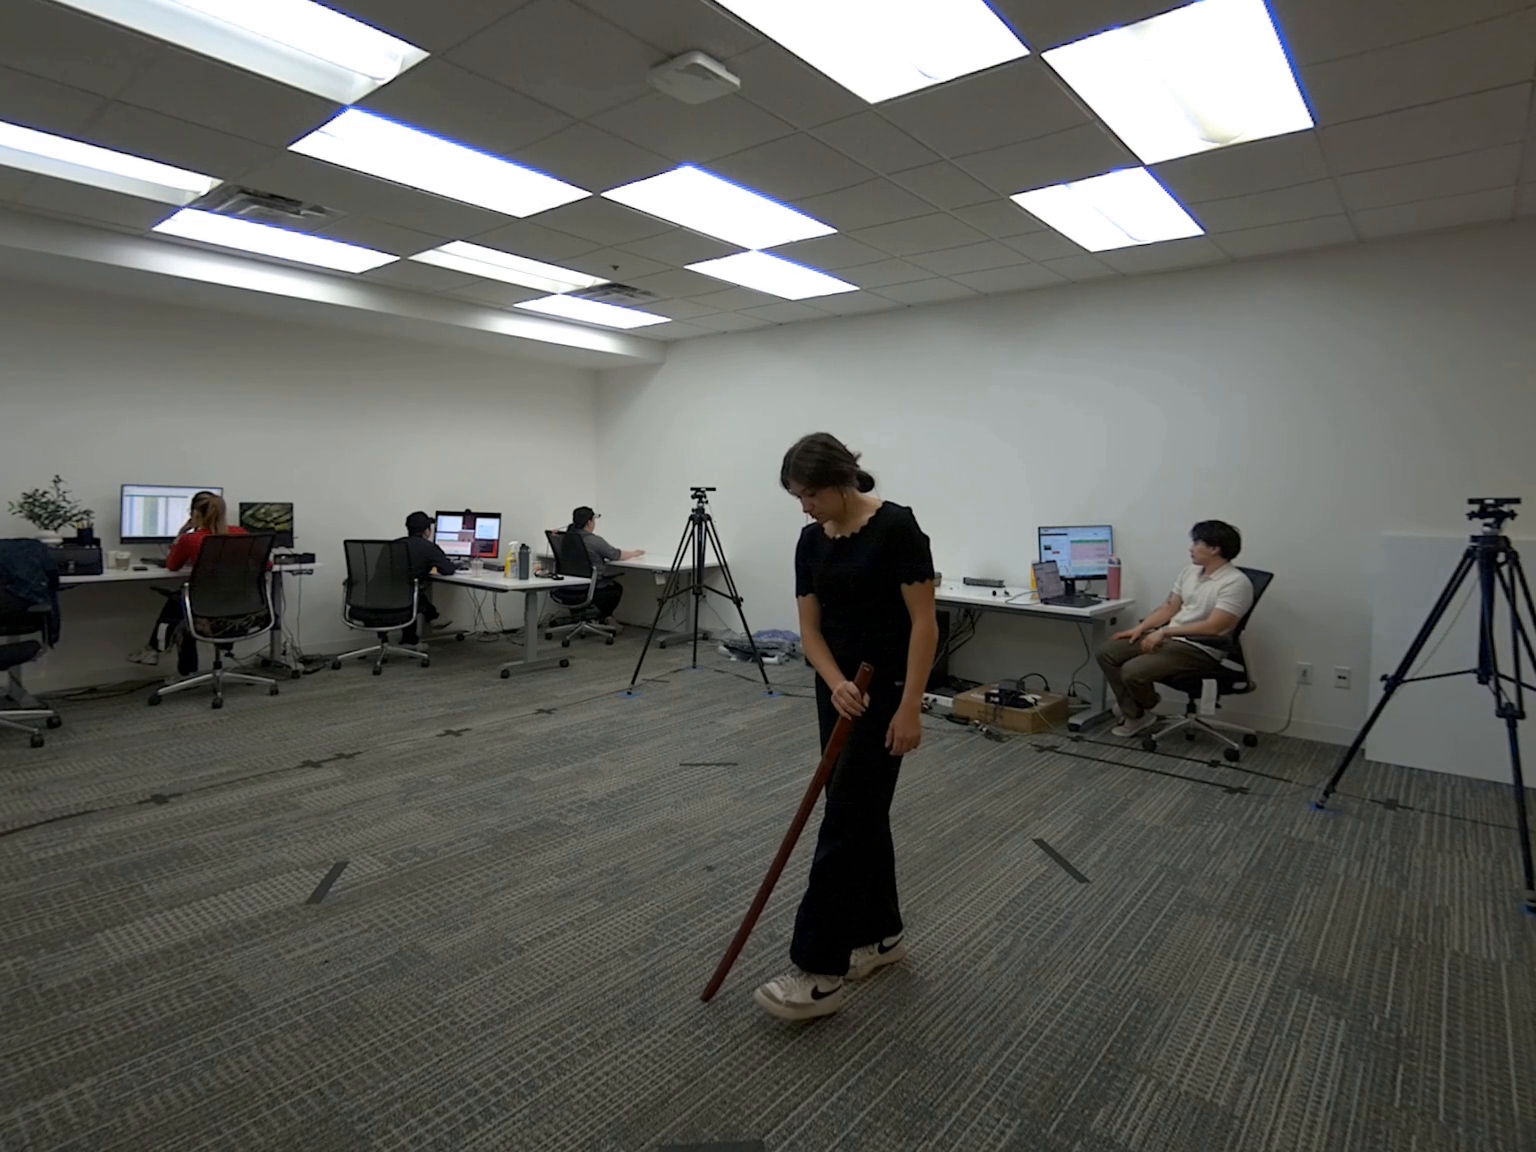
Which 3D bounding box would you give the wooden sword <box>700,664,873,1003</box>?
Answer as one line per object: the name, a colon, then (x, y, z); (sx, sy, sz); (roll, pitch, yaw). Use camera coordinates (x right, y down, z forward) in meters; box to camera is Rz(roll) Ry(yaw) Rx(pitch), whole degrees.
wooden sword: (0.034, 0.703, 2.250); (0.051, 1.021, 0.024); (24, 6, 1)
